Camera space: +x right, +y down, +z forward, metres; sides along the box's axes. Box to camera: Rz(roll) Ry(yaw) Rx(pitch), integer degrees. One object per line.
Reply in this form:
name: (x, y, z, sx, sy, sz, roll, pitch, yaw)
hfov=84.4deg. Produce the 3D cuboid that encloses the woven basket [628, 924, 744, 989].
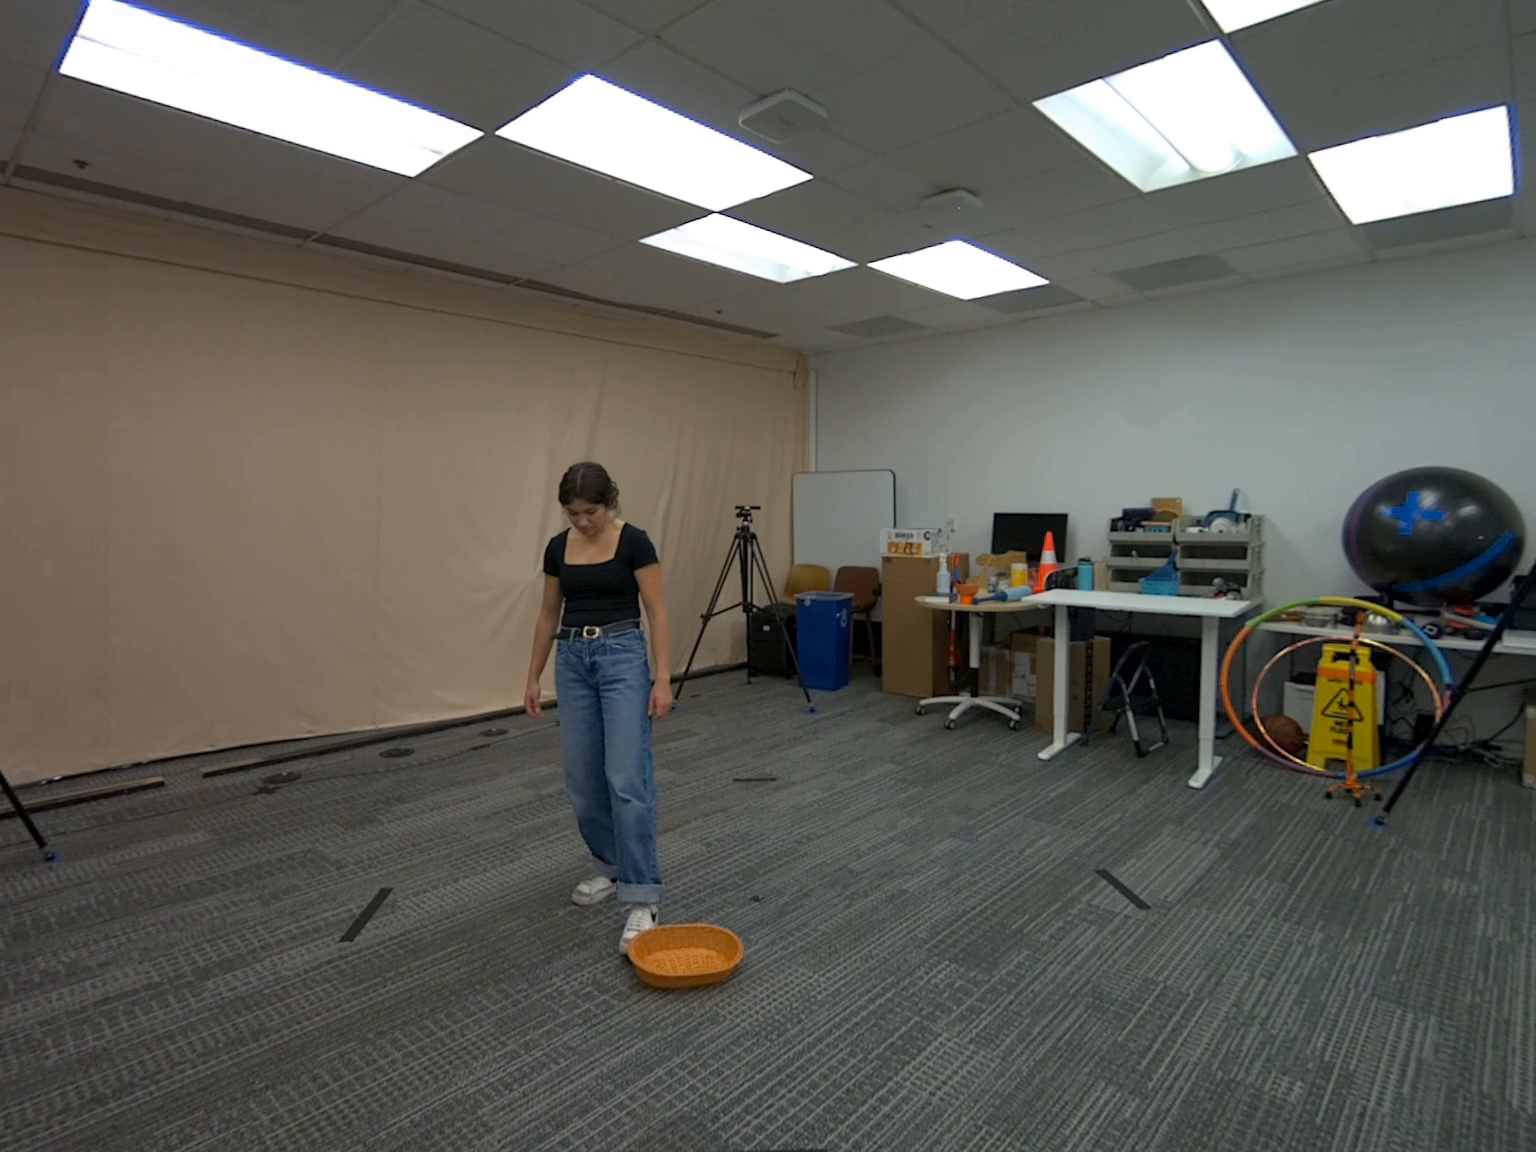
woven basket: (-0.247, 1.144, 2.511, 0.345, 0.073, 0.257, 1, 8, -14)
